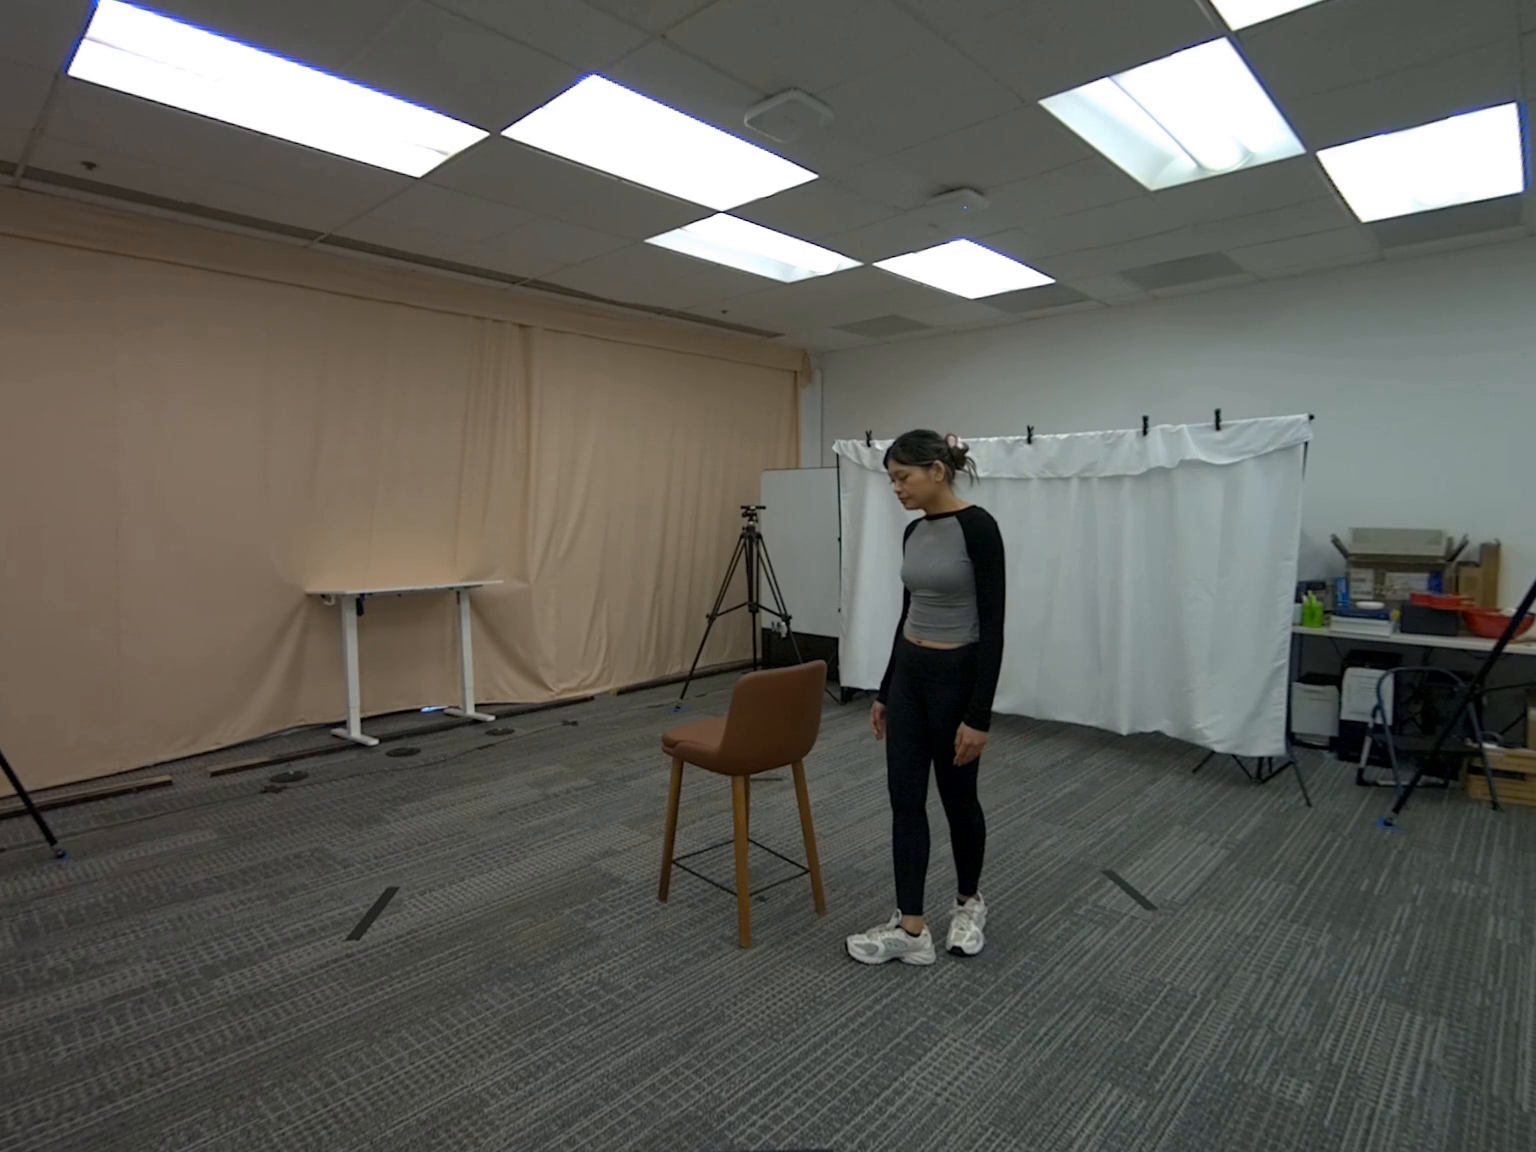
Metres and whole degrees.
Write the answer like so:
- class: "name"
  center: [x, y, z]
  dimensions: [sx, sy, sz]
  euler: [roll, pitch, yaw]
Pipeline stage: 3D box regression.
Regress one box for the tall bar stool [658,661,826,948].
- class: "tall bar stool"
  center: [-0.082, 0.714, 2.910]
  dimensions: [0.442, 0.887, 0.483]
  euler: [-3, 7, -41]
